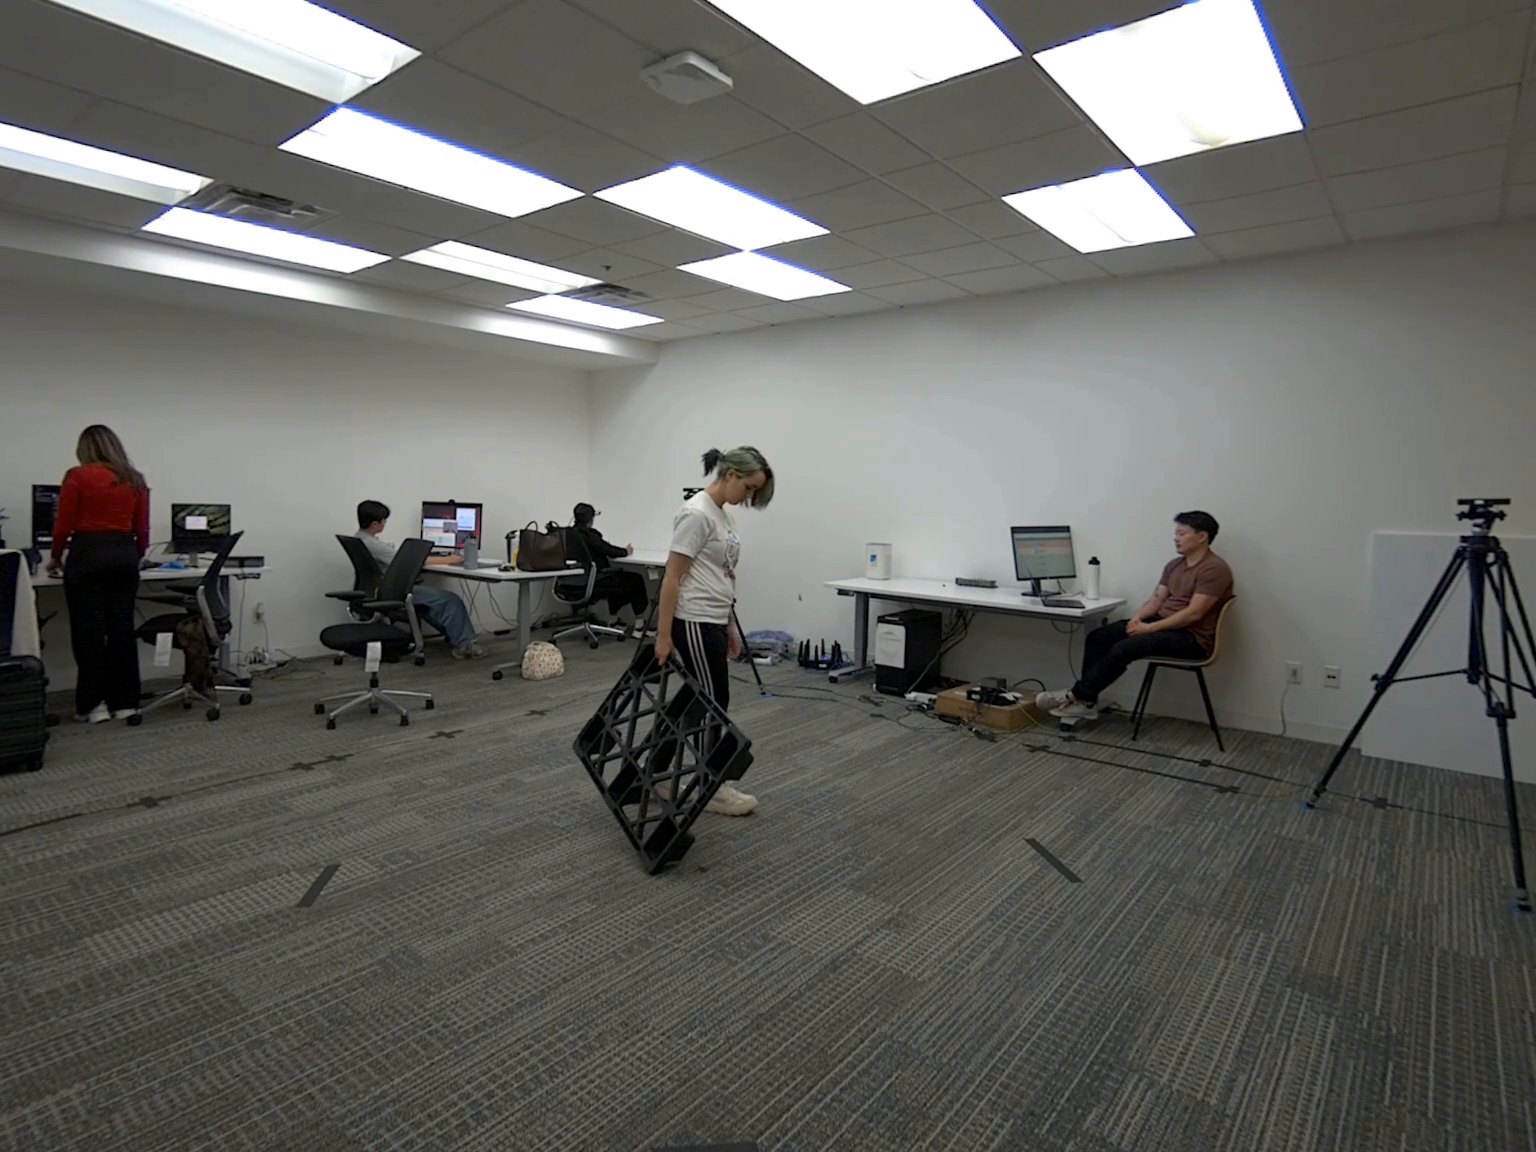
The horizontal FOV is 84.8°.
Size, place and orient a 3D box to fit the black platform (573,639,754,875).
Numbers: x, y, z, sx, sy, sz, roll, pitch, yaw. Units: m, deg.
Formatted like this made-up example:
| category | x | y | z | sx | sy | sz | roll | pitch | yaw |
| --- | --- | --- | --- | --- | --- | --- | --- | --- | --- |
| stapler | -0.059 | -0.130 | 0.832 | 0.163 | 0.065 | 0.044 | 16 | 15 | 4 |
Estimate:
| category | x | y | z | sx | sy | sz | roll | pitch | yaw |
| --- | --- | --- | --- | --- | --- | --- | --- | --- | --- |
| black platform | -0.438 | 0.682 | 3.381 | 0.137 | 0.605 | 0.840 | 32 | 3 | -41 |
